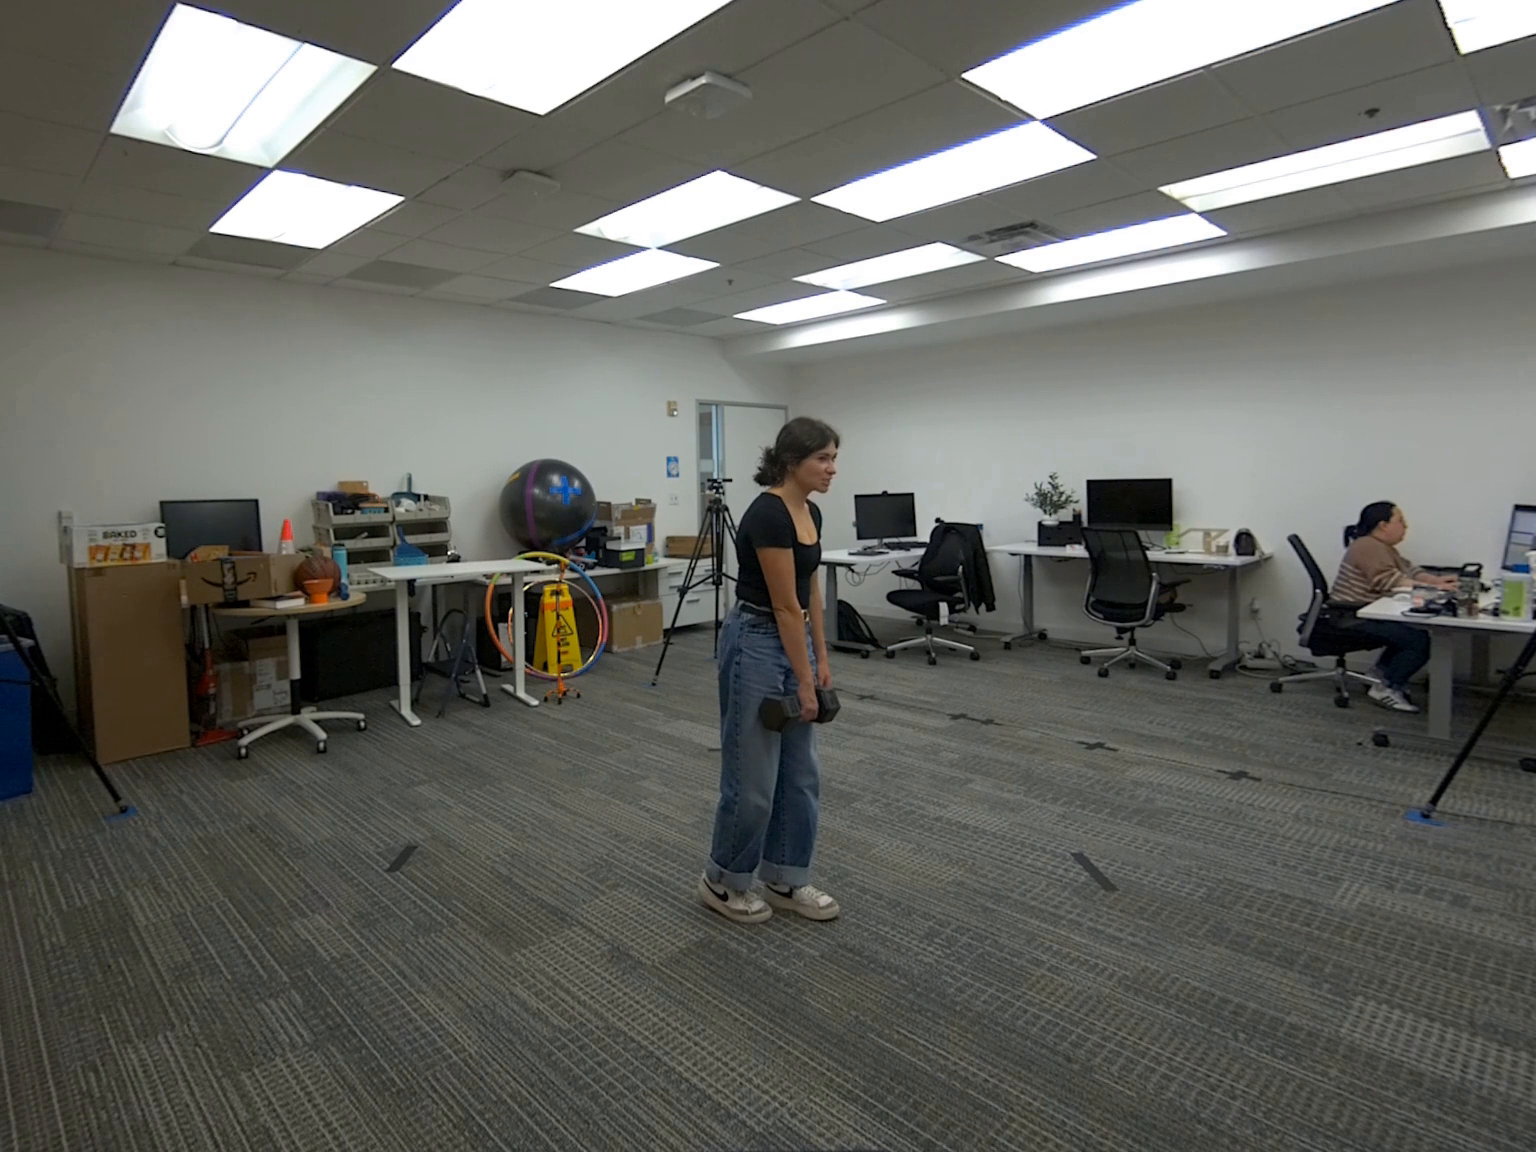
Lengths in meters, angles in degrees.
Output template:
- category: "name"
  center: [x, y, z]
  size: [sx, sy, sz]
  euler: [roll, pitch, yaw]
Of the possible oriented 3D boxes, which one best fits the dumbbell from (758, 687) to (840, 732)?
- category: "dumbbell"
  center: [0.096, 0.409, 2.635]
  size: [0.112, 0.122, 0.285]
  euler: [40, 24, 31]
